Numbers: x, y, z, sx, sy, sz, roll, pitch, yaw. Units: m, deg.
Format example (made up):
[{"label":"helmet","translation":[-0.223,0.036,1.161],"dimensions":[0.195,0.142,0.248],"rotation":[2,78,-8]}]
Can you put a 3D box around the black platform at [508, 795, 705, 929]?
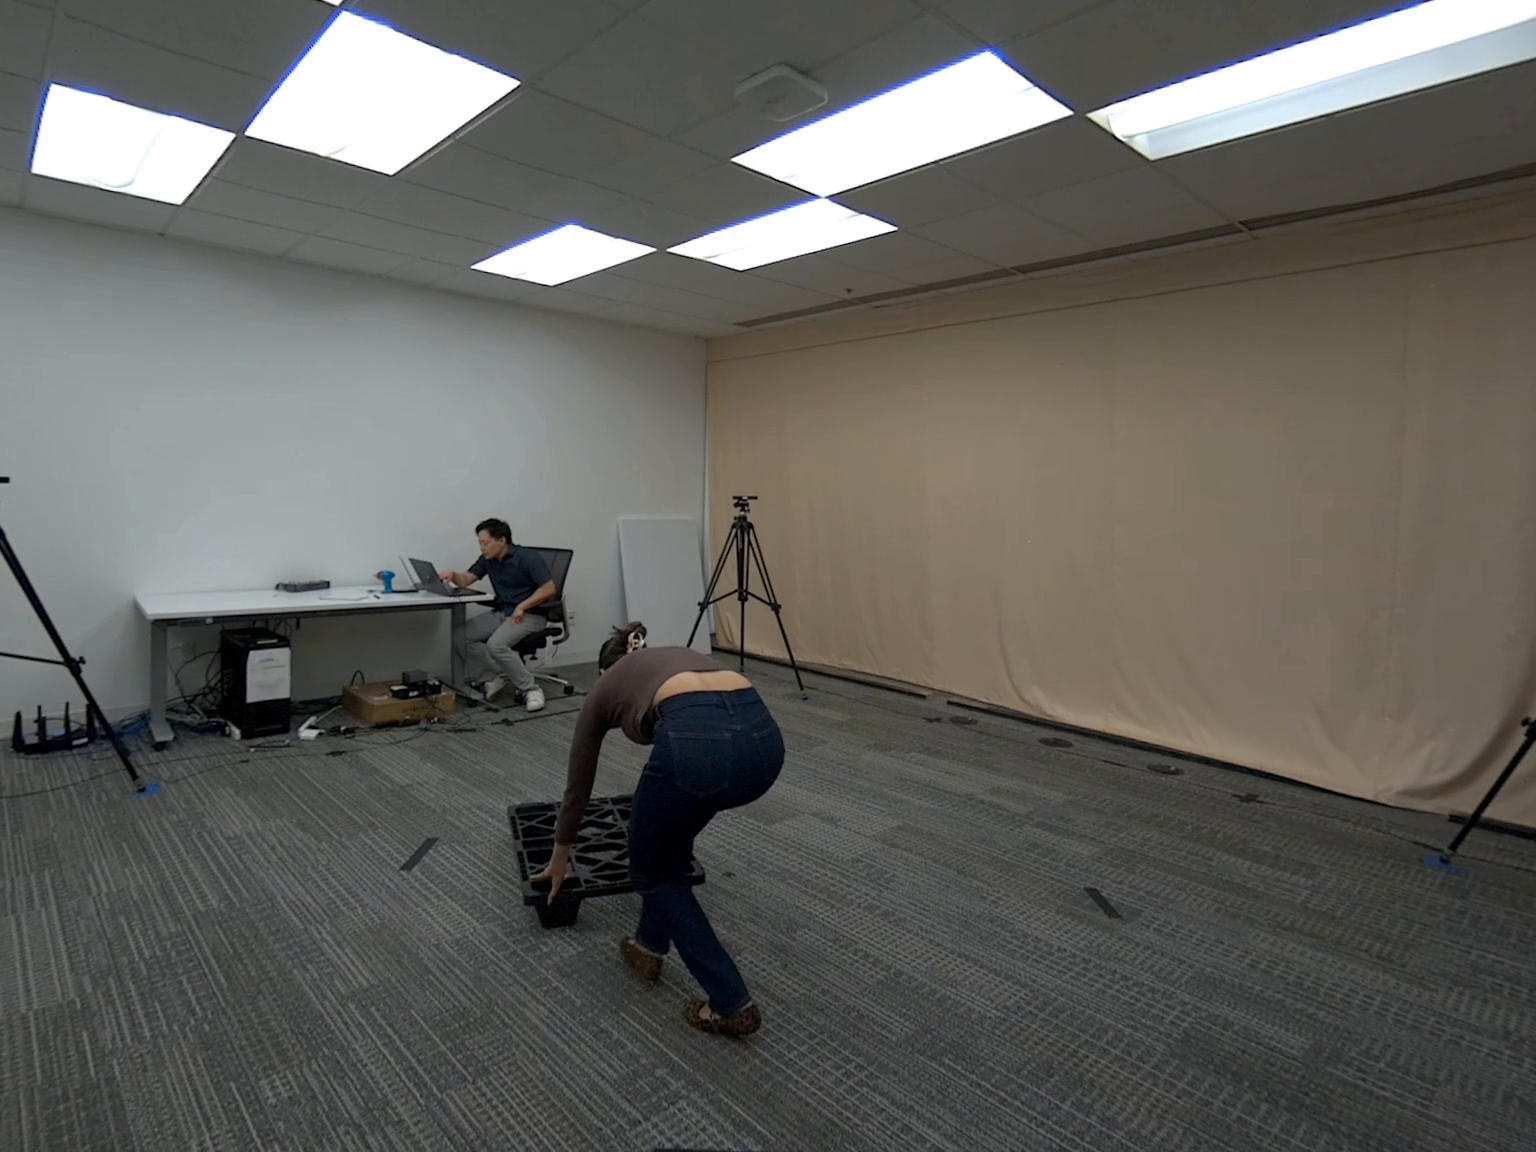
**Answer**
[{"label":"black platform","translation":[-0.633,1.023,3.094],"dimensions":[0.596,0.143,0.820],"rotation":[-1,6,-20]}]
